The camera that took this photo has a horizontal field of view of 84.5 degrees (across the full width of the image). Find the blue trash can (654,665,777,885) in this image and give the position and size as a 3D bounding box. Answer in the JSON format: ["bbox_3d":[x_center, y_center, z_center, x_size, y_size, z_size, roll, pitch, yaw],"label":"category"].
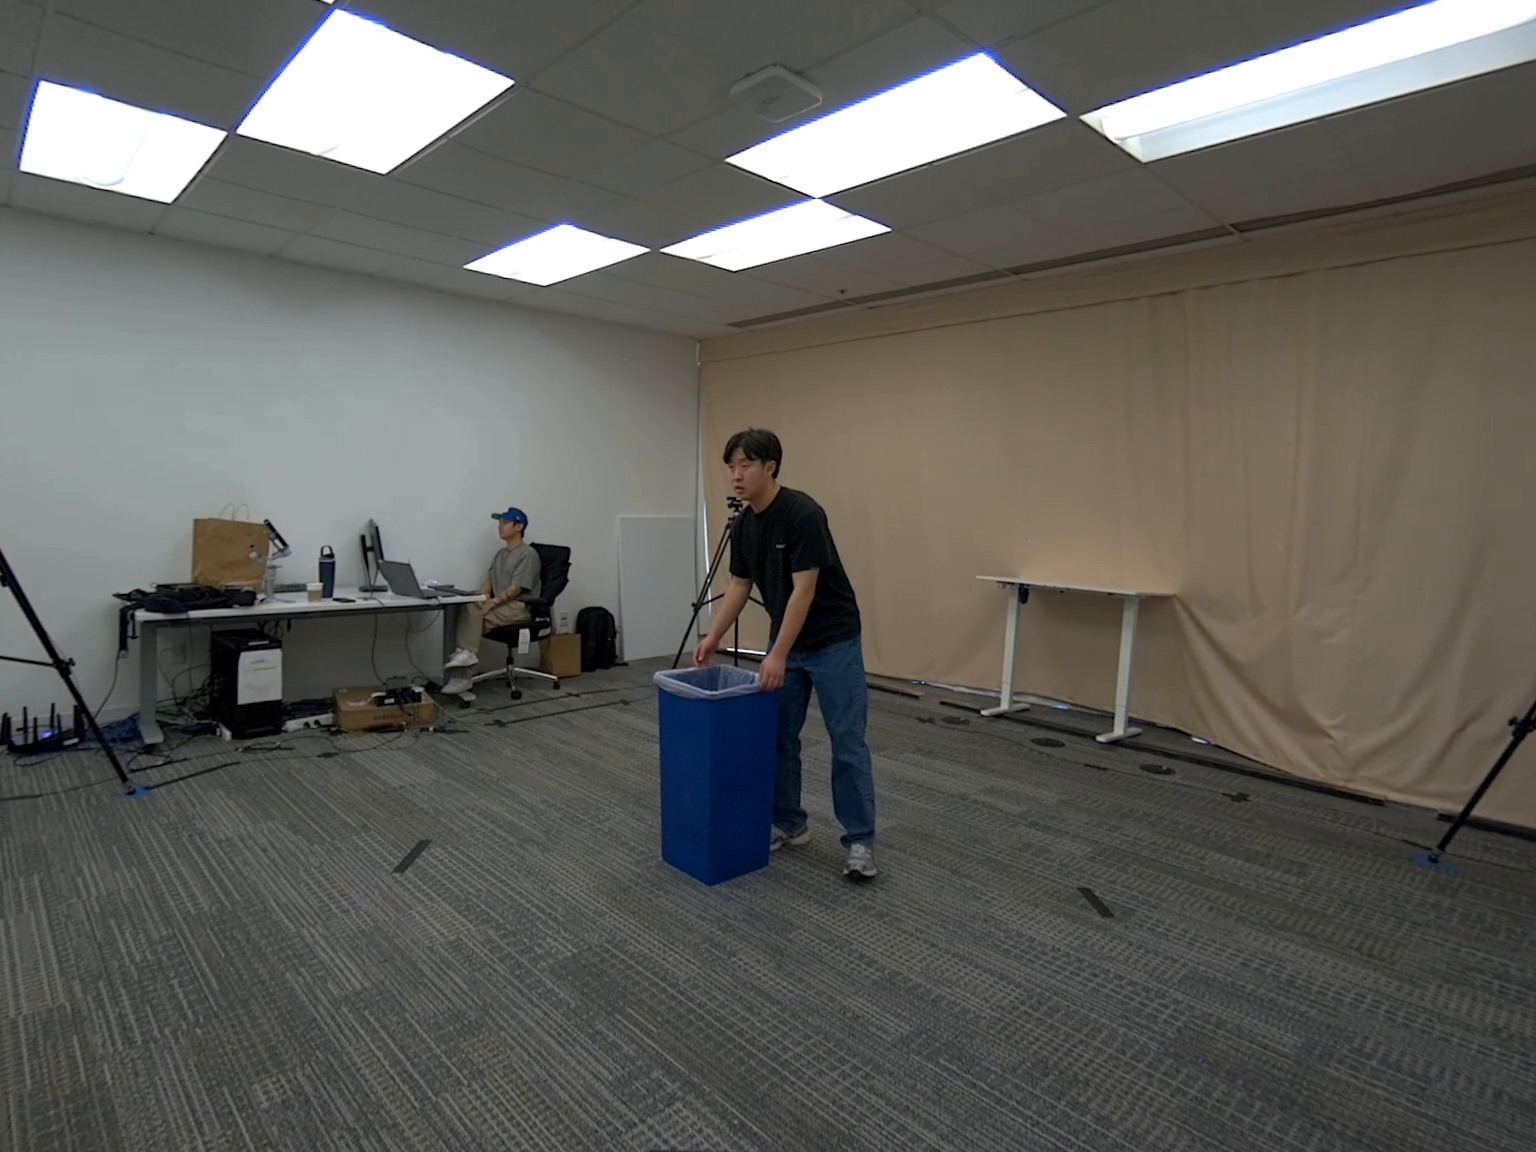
[{"bbox_3d":[-0.204,0.739,3.193,0.365,0.712,0.387,-1,4,-42],"label":"blue trash can"}]
